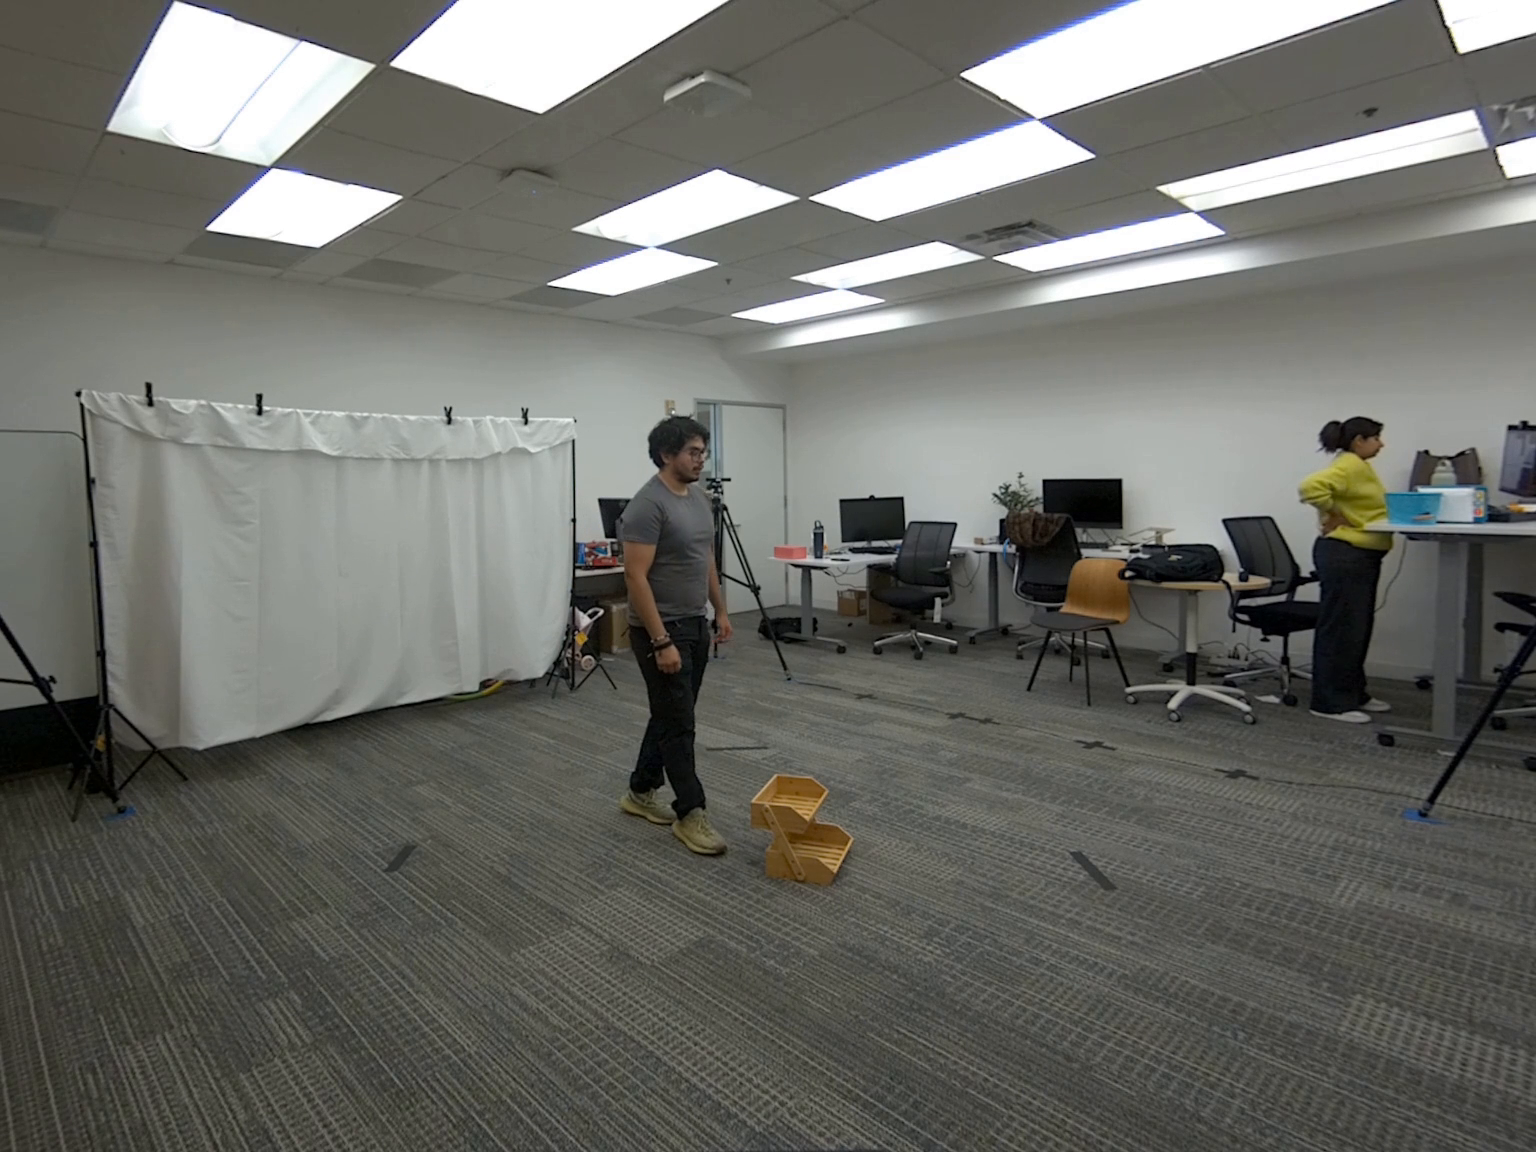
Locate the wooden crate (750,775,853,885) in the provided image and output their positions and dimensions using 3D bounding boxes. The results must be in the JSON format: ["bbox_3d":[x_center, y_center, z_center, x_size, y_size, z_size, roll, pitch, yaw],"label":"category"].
[{"bbox_3d":[0.143,0.910,3.094,0.308,0.272,0.320,1,5,19],"label":"wooden crate"}]
